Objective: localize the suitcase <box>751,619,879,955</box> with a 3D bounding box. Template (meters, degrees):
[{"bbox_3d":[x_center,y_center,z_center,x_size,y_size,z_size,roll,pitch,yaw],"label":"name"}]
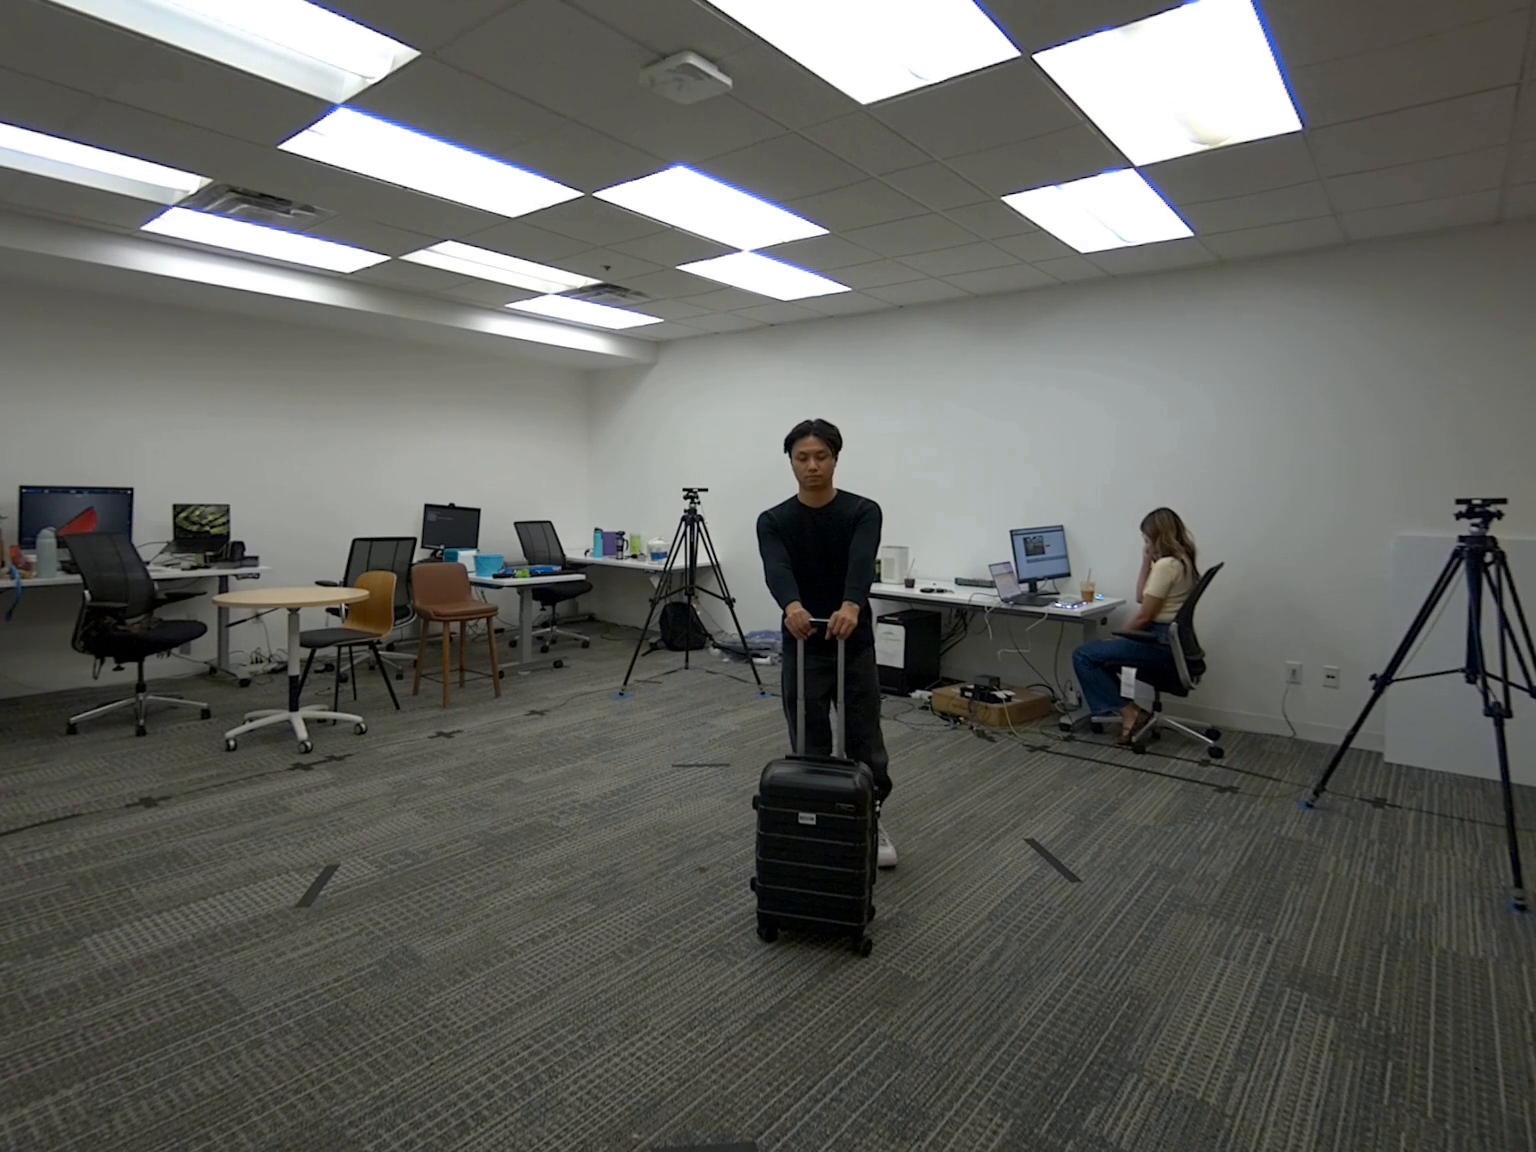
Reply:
[{"bbox_3d":[0.144,0.647,2.647,0.390,0.974,0.255,1,5,13],"label":"suitcase"}]
